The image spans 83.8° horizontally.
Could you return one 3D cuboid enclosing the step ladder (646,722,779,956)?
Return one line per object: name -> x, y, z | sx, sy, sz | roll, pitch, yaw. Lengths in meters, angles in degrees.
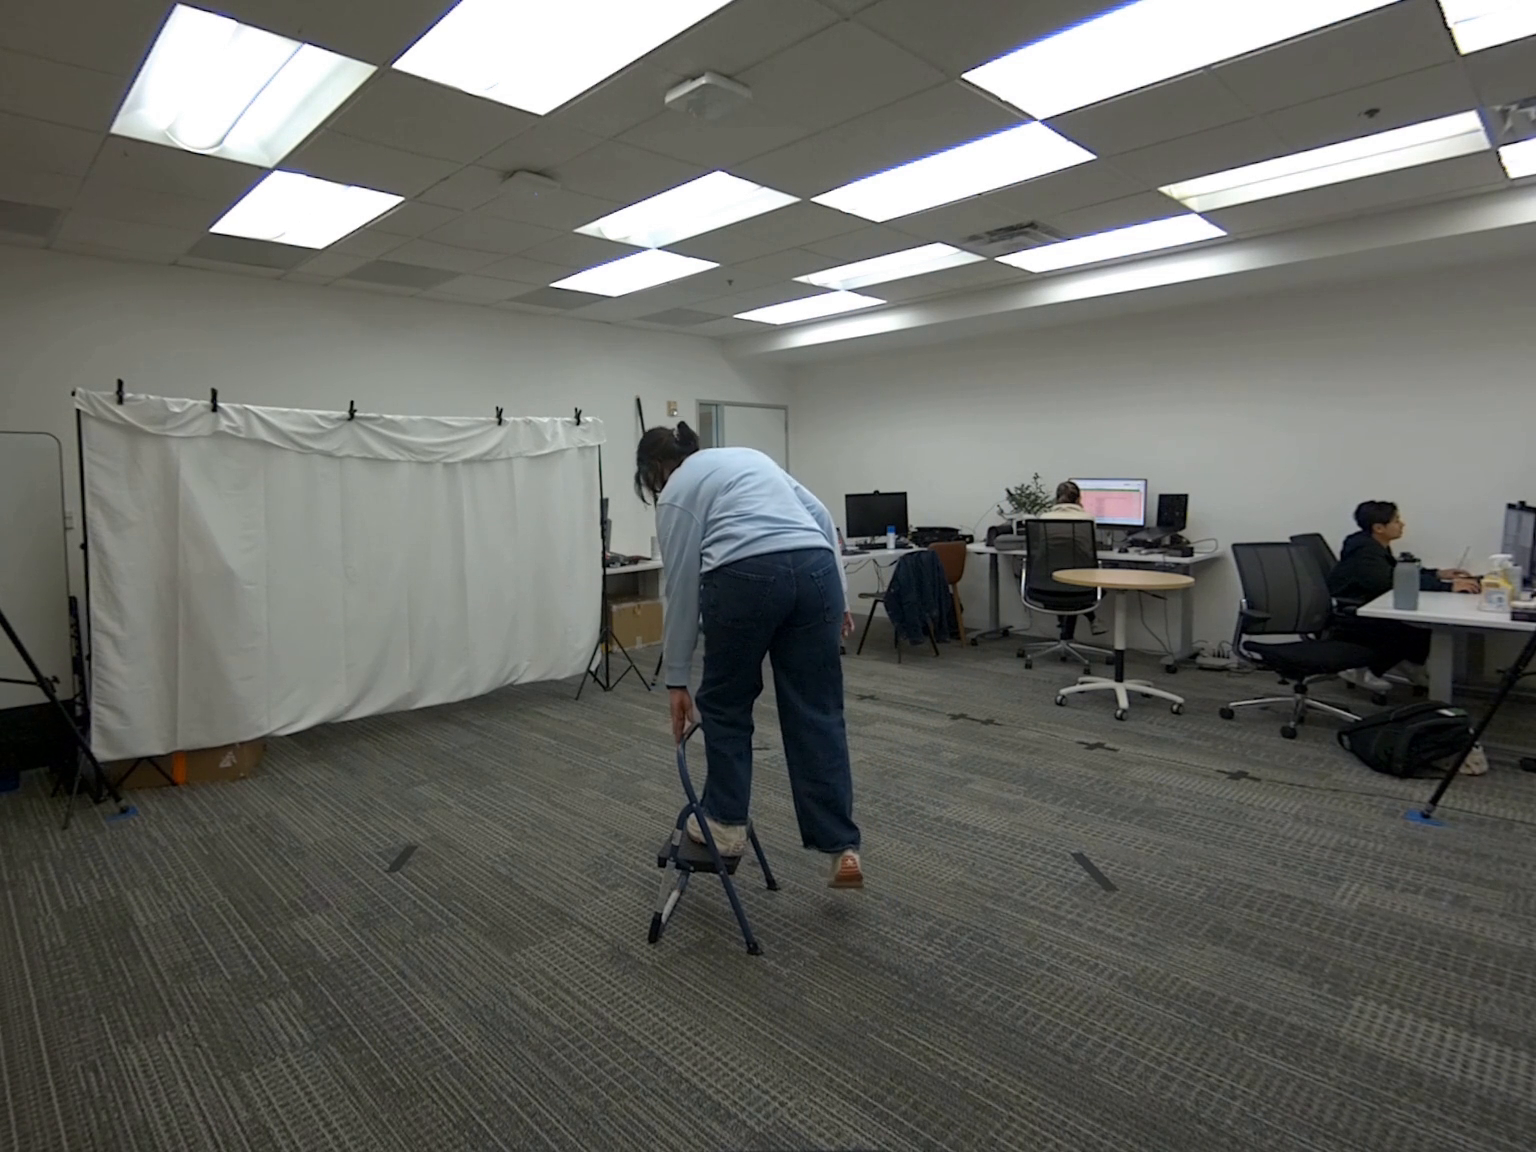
step ladder -> -0.169, 0.791, 2.733 | 0.353, 0.604, 0.428 | 0, 5, 9
